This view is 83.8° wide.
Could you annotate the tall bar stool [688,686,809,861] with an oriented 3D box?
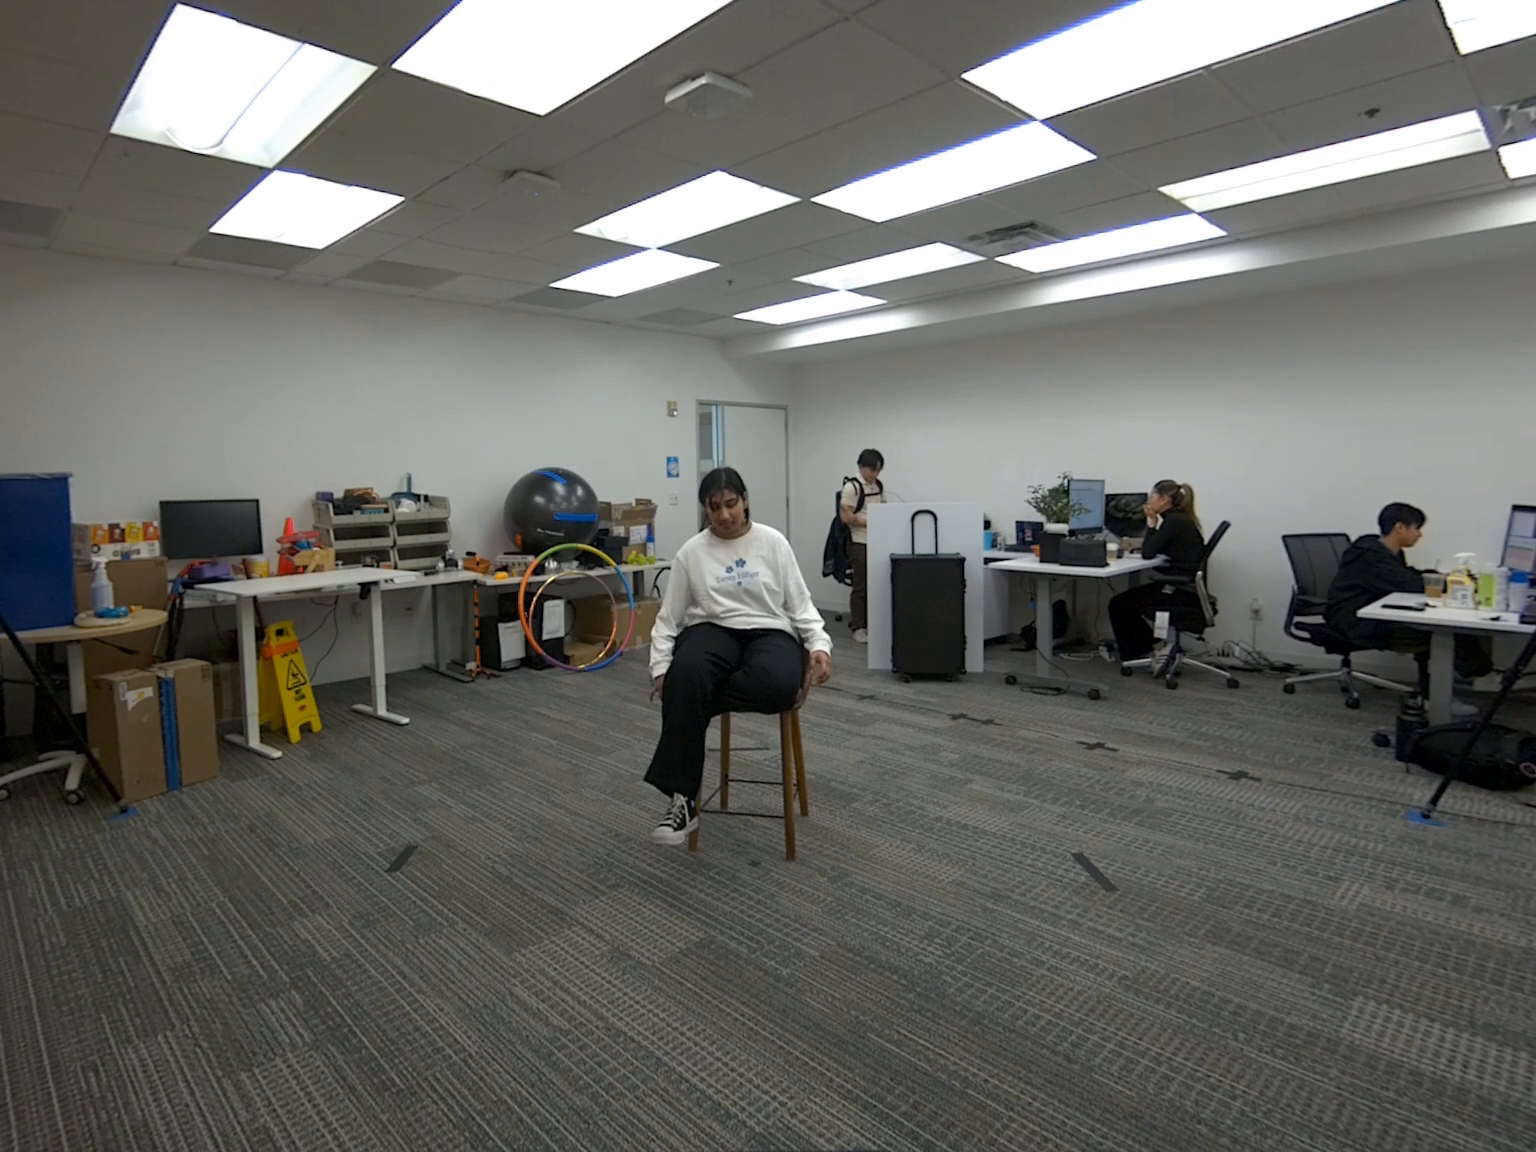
[{"bbox_3d":[-0.056,0.585,3.374,0.463,0.889,0.461,0,2,14],"label":"tall bar stool"}]
